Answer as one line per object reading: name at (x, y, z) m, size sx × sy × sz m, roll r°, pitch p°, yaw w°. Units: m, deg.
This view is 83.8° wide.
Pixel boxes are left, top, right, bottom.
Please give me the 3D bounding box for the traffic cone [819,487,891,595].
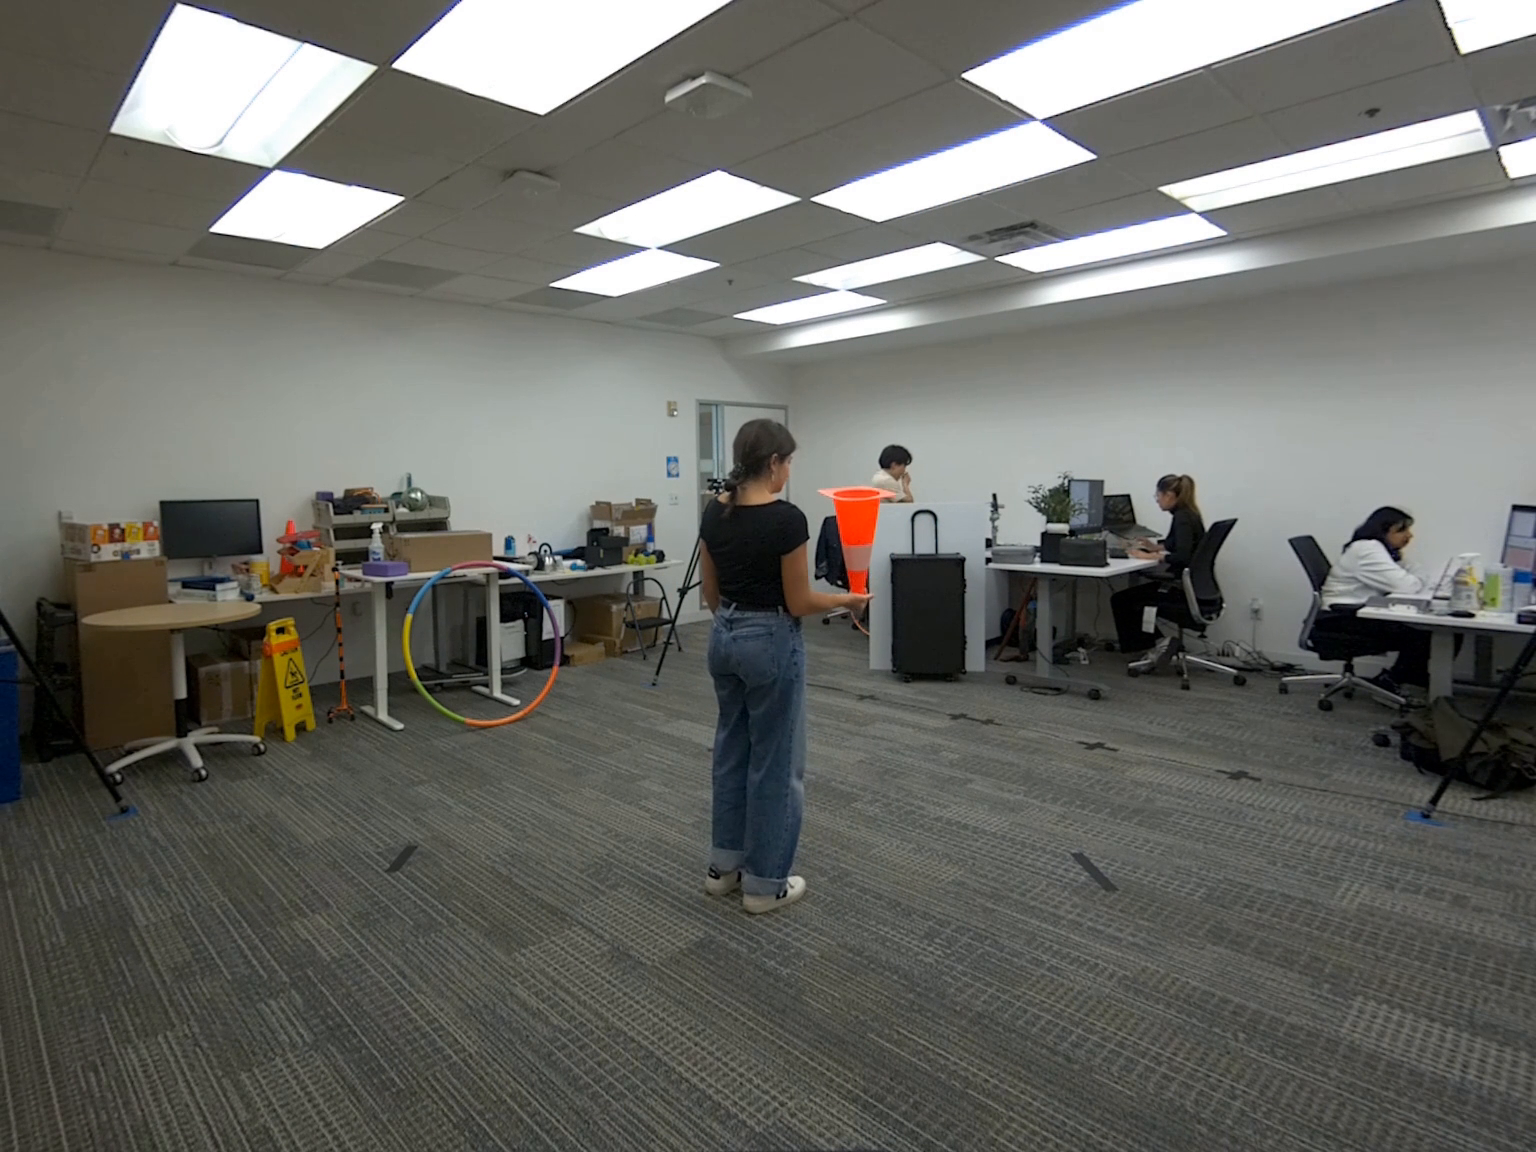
traffic cone at (0.293, -0.091, 2.851) m, size 0.202 × 0.379 × 0.209 m, roll -7°, pitch 15°, yaw -20°
